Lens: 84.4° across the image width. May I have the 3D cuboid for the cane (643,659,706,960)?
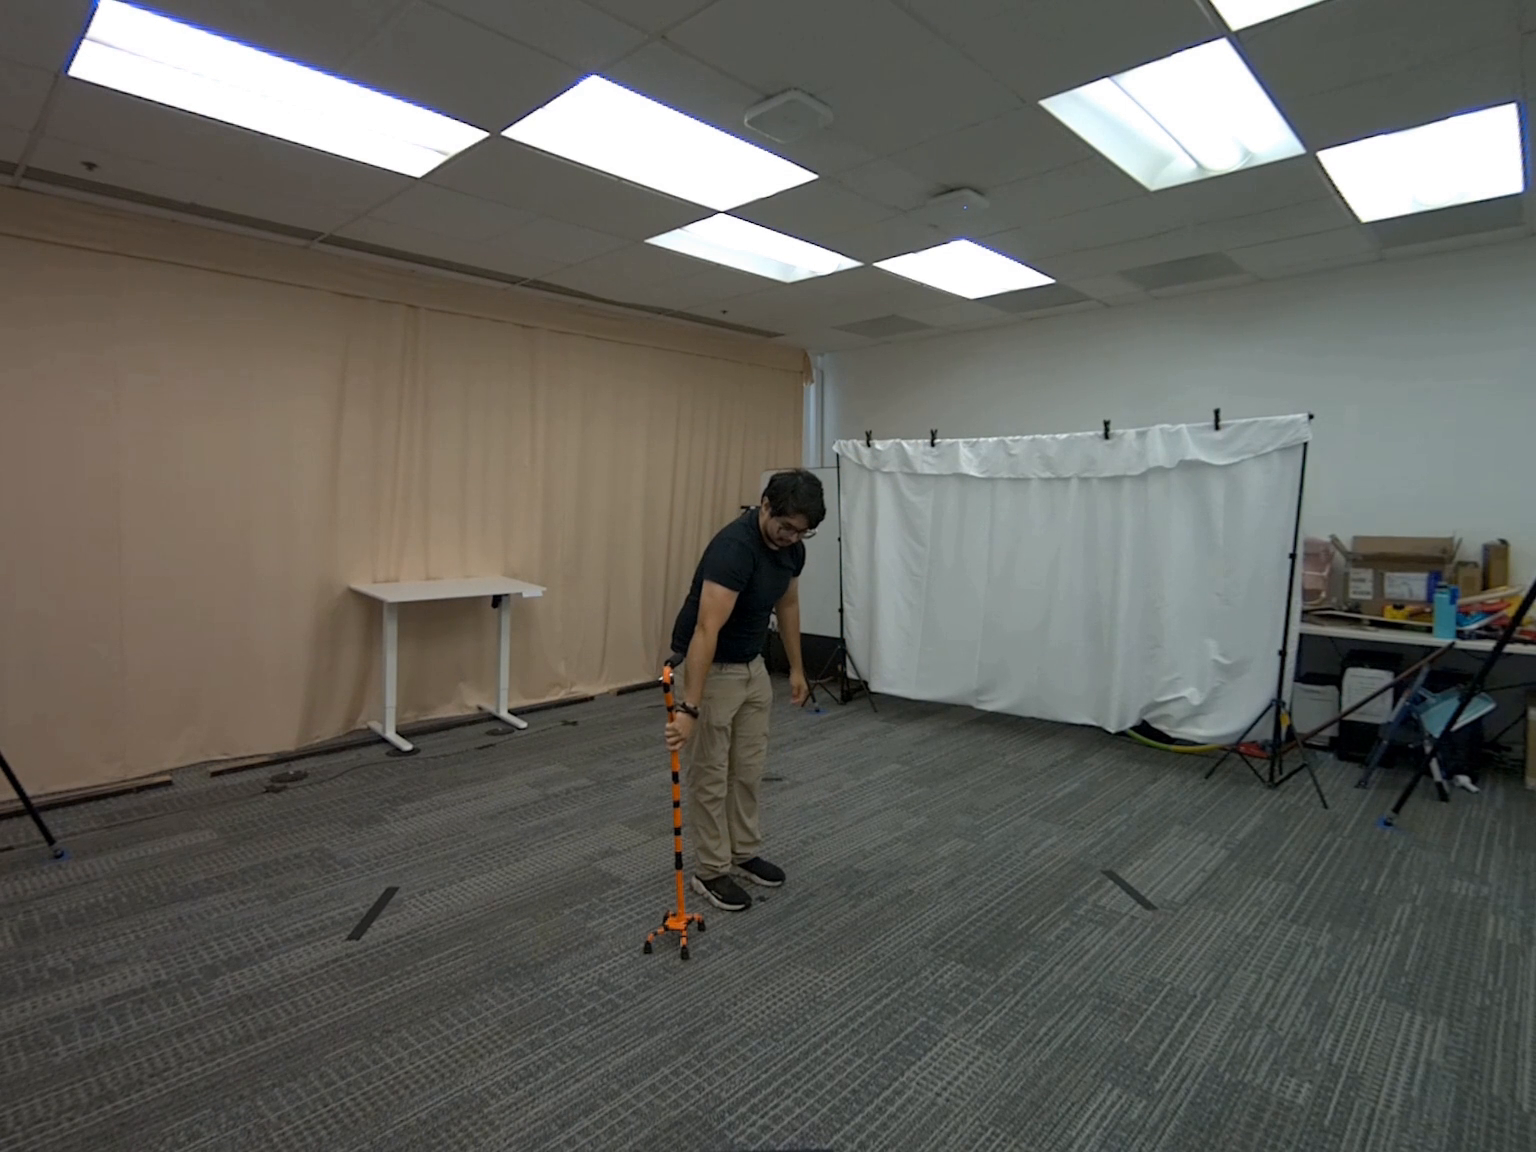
[{"bbox_3d":[-0.308,0.713,2.668,0.154,0.906,0.204,0,4,12],"label":"cane"}]
